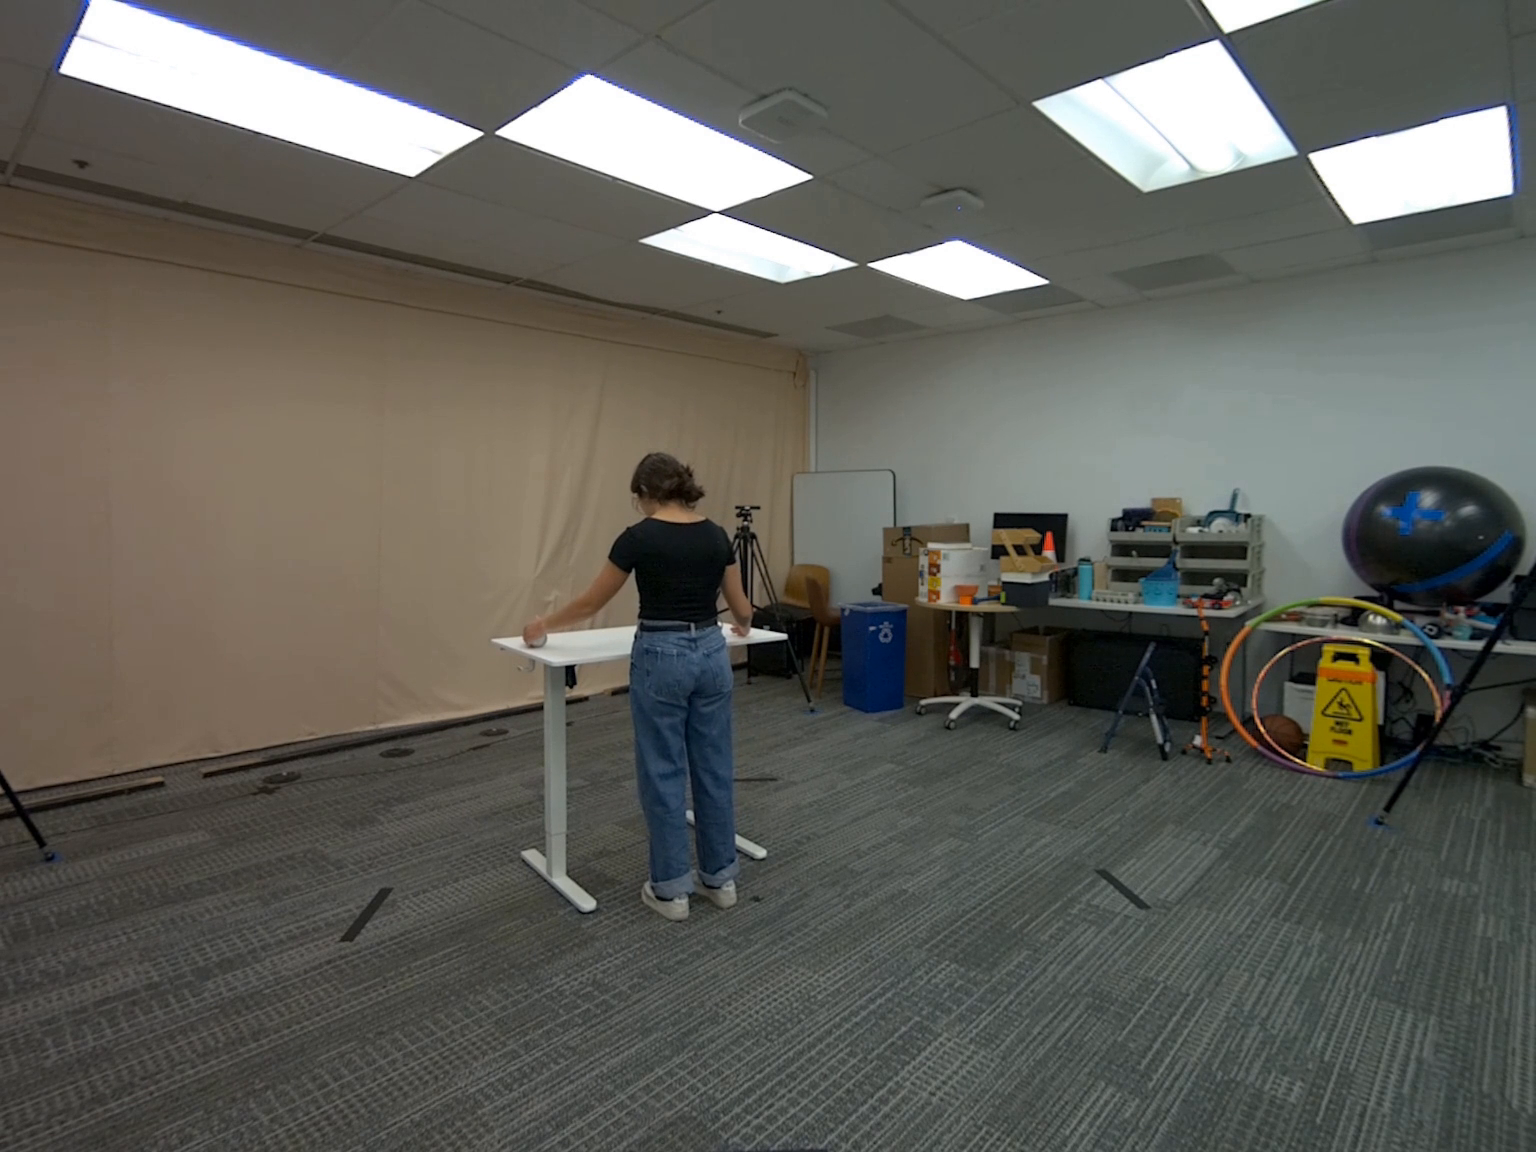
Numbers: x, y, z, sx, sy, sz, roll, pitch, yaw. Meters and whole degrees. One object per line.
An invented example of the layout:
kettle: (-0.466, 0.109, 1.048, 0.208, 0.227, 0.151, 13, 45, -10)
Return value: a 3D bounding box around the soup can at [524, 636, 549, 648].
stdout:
soup can: (-0.858, 0.225, 3.120, 0.065, 0.067, 0.125, -2, 8, -24)
